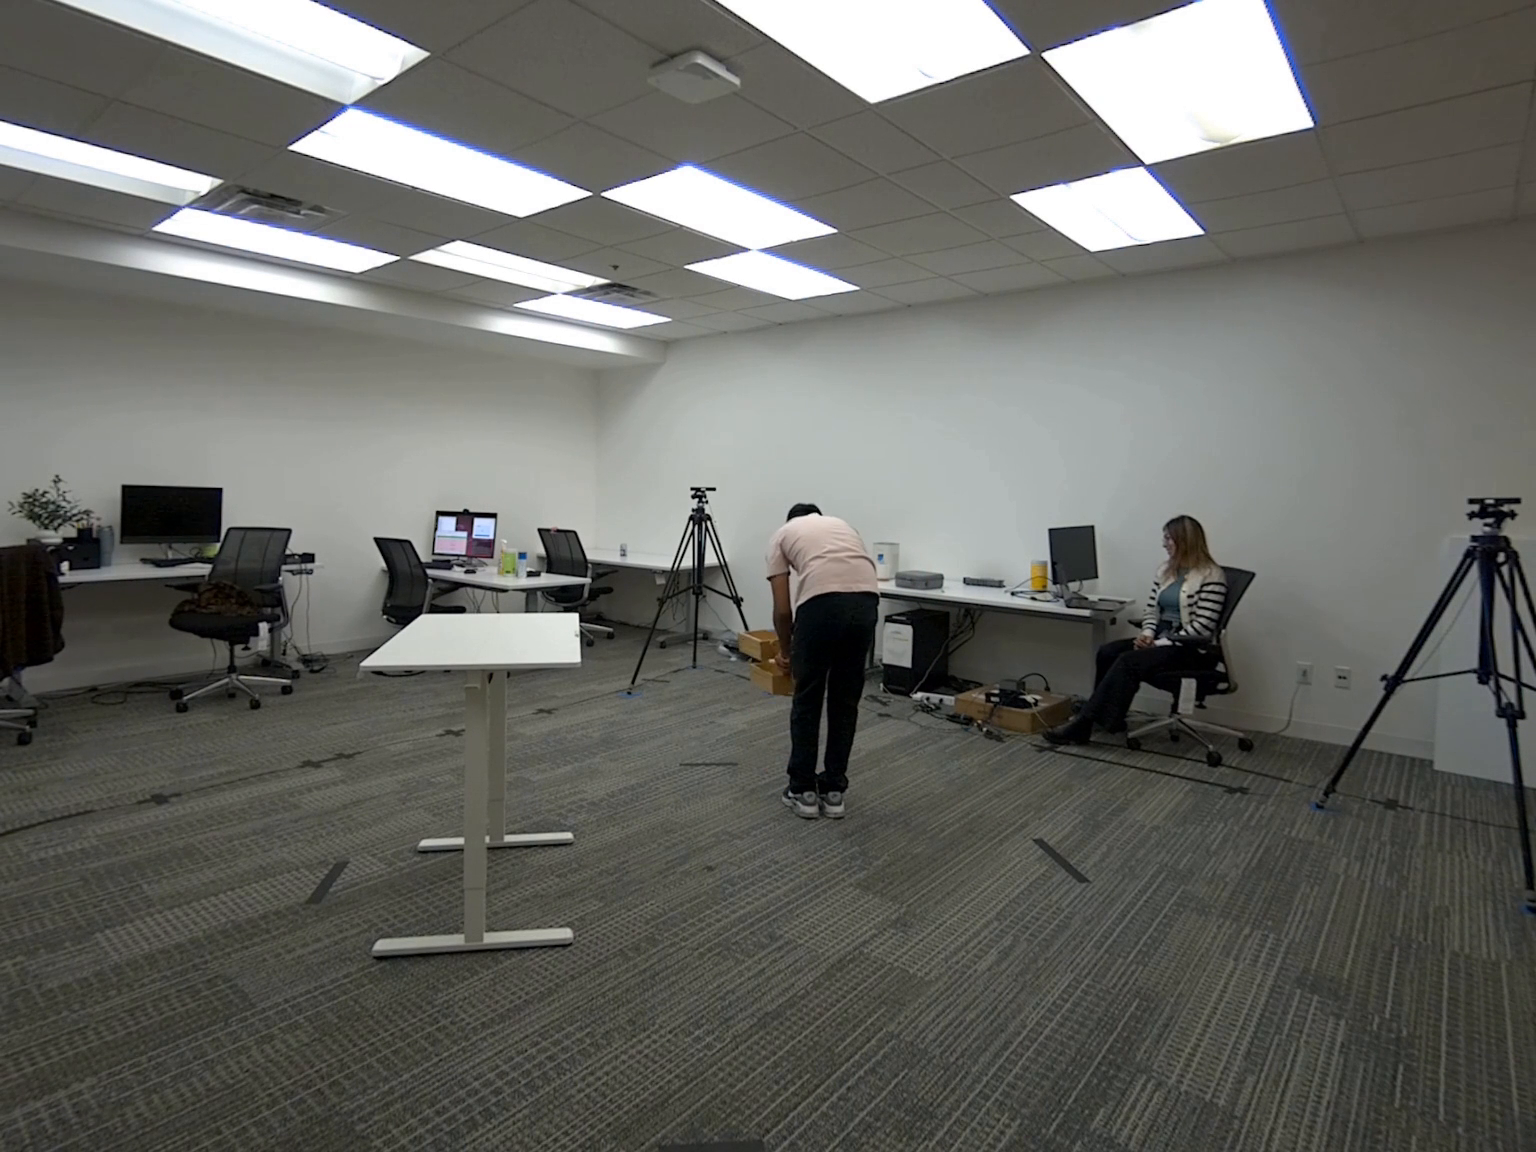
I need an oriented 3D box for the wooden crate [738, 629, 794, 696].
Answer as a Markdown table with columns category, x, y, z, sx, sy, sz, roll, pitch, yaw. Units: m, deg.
| category | x | y | z | sx | sy | sz | roll | pitch | yaw |
| --- | --- | --- | --- | --- | --- | --- | --- | --- | --- |
| wooden crate | 0.044 | 0.398 | 4.126 | 0.296 | 0.272 | 0.332 | -5 | 5 | -21 |
